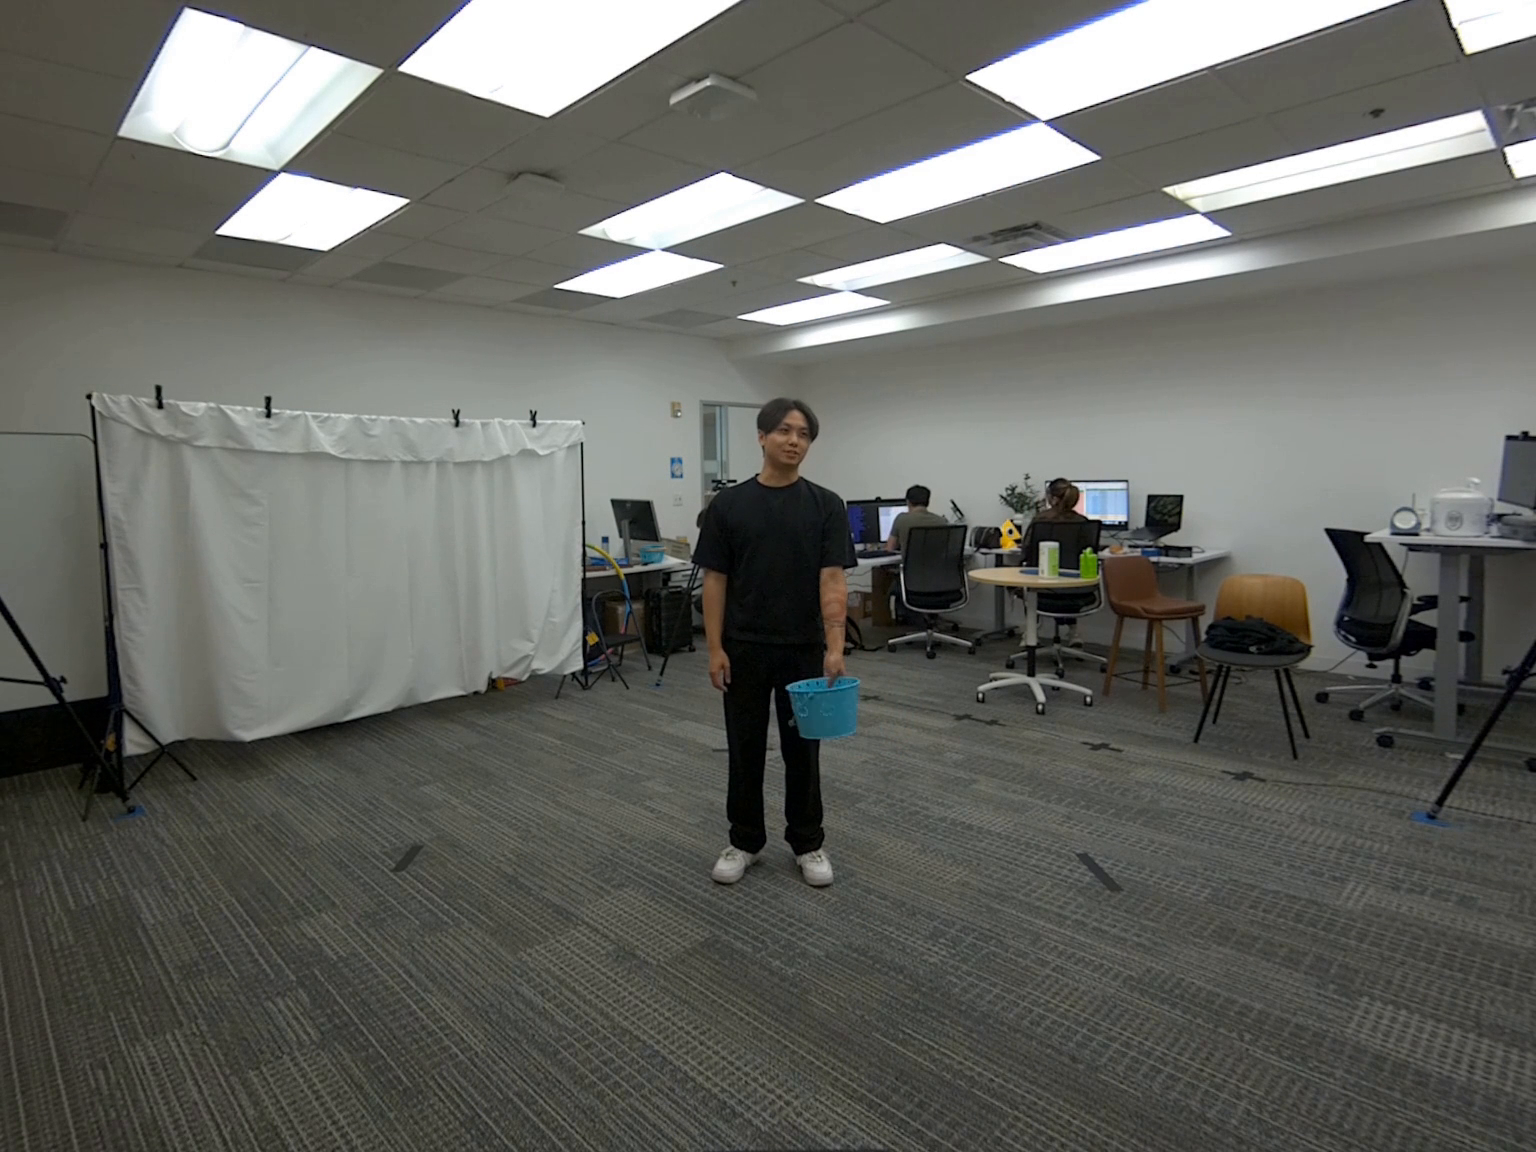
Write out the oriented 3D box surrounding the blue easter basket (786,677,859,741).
[{"bbox_3d":[0.177,0.416,2.694,0.243,0.156,0.244,-5,2,-2],"label":"blue easter basket"}]
